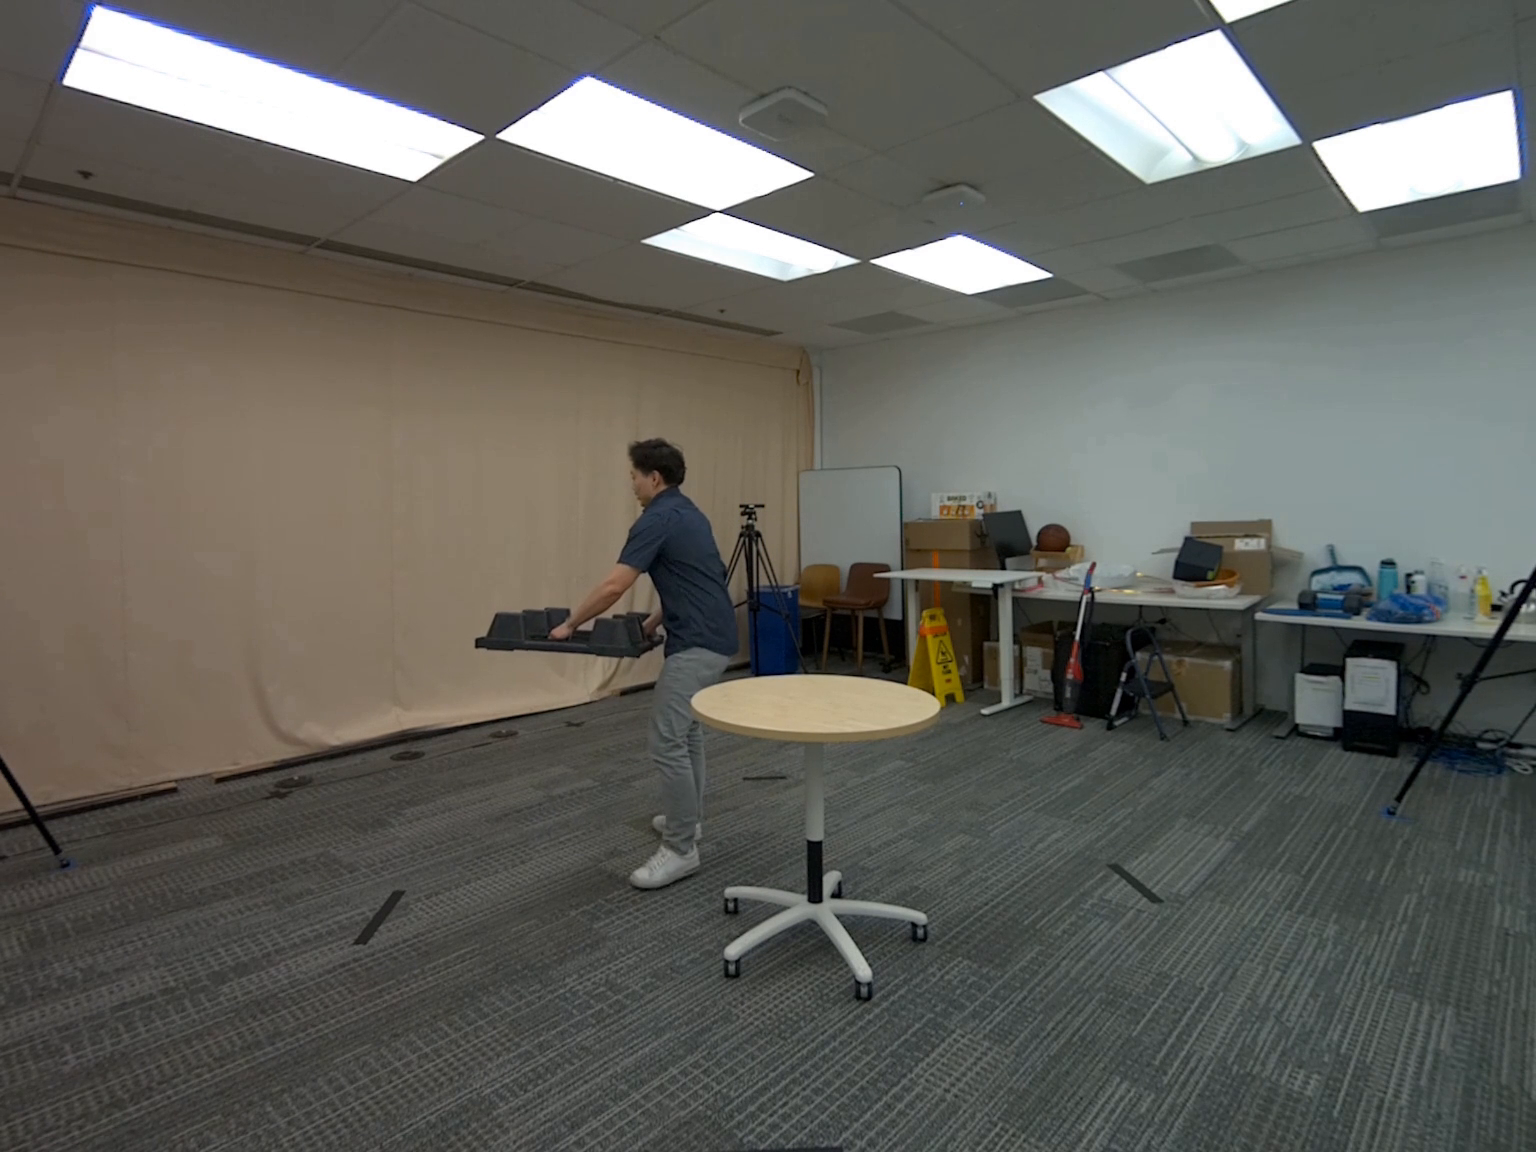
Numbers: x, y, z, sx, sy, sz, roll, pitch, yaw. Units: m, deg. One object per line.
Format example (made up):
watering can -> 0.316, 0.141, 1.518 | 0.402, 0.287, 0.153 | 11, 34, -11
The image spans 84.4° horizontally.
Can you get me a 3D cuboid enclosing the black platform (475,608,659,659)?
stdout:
black platform -> -0.765, 0.223, 3.404 | 0.607, 0.143, 0.802 | 3, -1, 2
